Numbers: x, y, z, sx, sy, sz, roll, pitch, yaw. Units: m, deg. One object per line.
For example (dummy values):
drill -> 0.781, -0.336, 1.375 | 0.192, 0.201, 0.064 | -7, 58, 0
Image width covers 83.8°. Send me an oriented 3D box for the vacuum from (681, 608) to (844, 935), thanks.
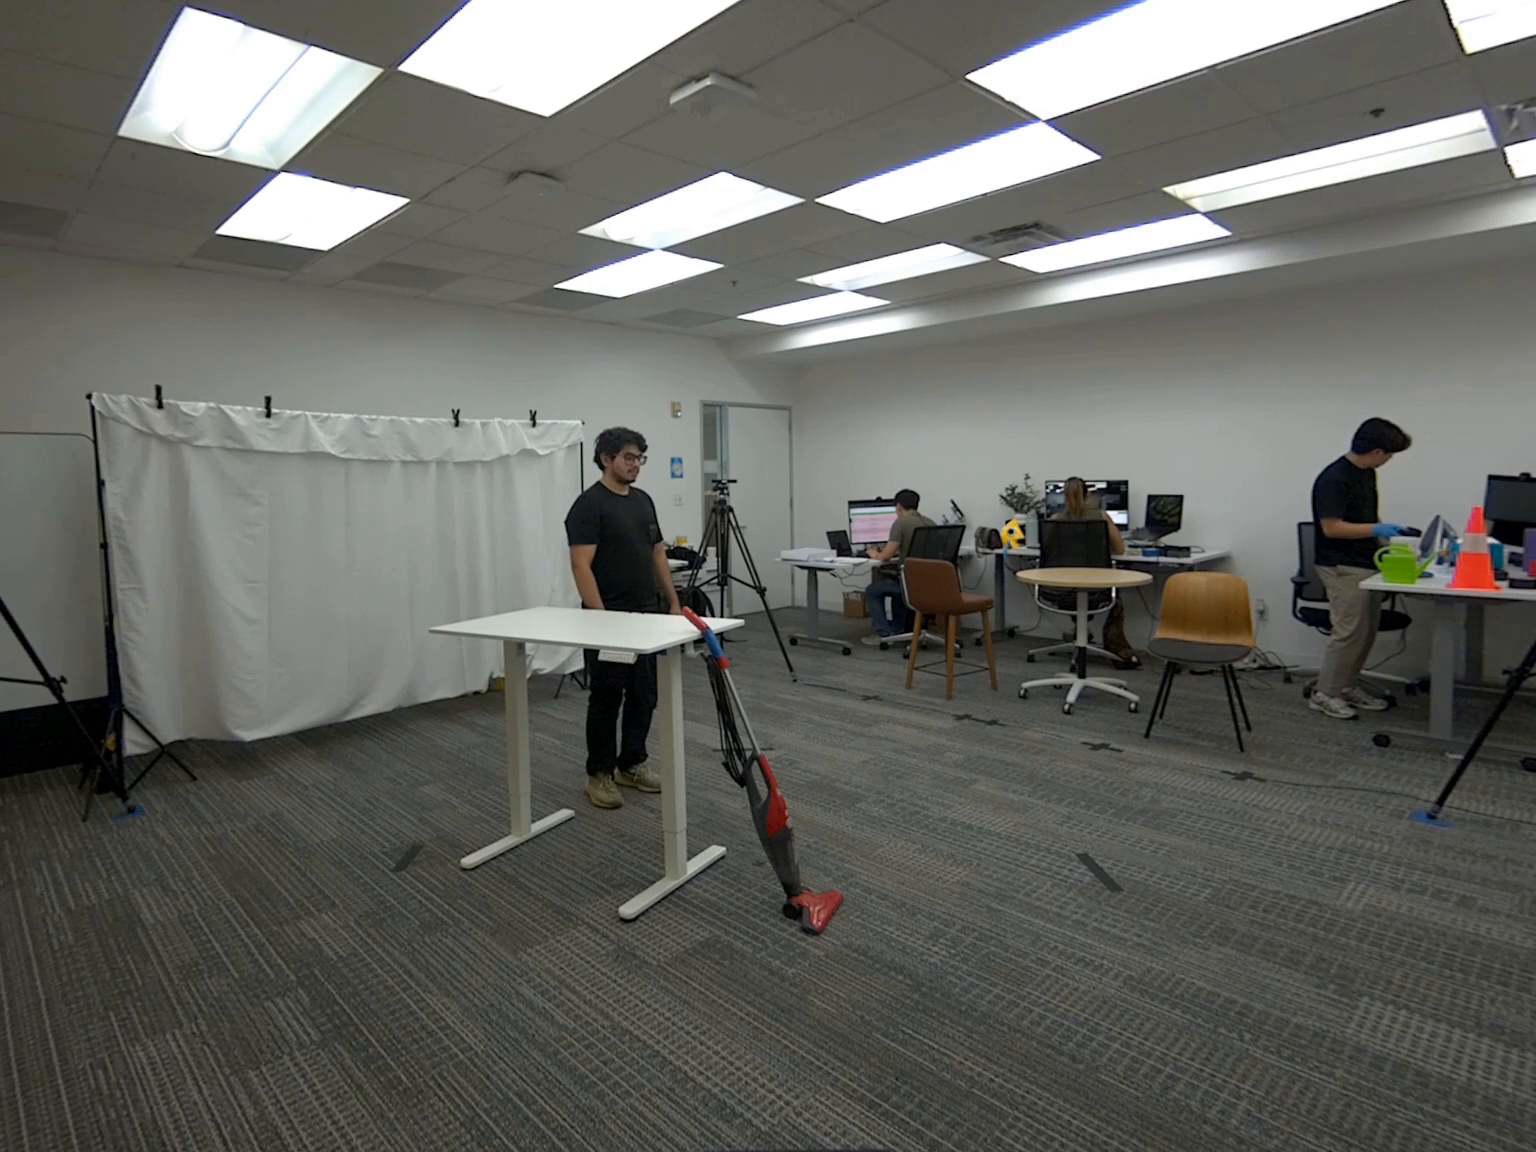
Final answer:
vacuum -> -0.056, 0.604, 2.810 | 0.145, 1.059, 0.247 | -26, -8, 24
